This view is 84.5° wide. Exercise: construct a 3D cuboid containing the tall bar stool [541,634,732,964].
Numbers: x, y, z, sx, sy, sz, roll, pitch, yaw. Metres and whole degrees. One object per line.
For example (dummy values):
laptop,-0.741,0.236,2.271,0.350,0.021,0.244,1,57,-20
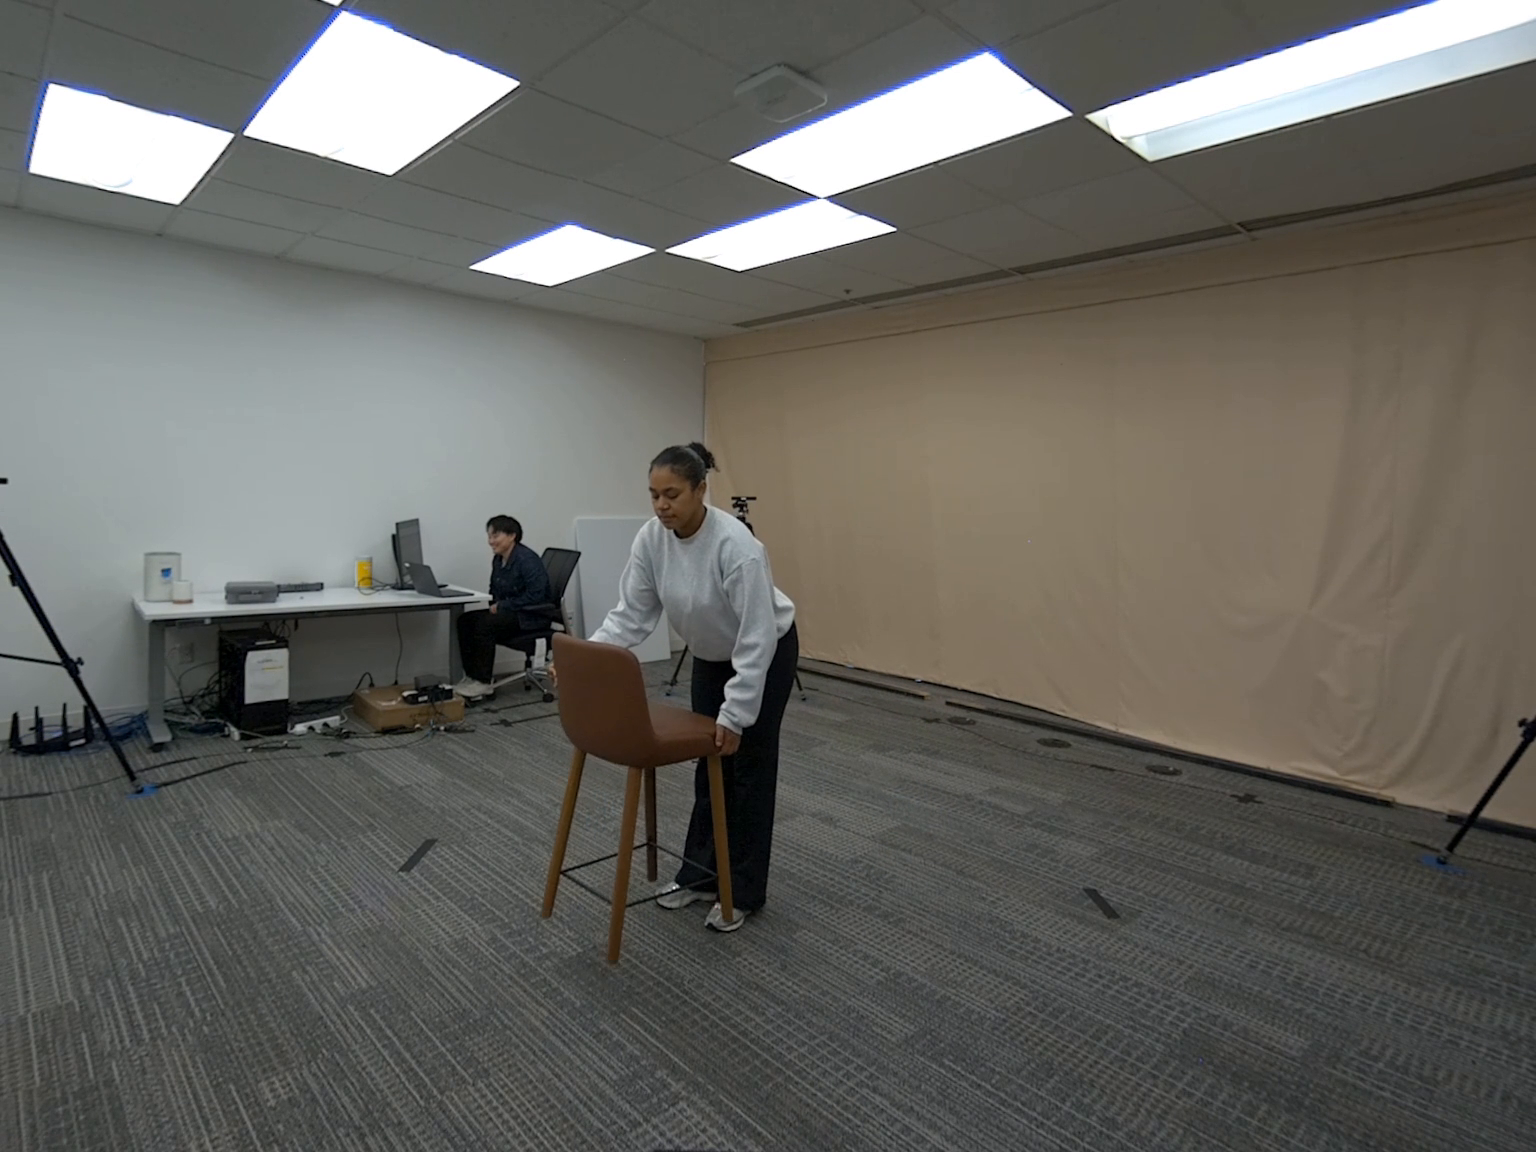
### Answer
tall bar stool,-0.395,0.621,2.565,0.457,0.888,0.468,-1,3,-44
